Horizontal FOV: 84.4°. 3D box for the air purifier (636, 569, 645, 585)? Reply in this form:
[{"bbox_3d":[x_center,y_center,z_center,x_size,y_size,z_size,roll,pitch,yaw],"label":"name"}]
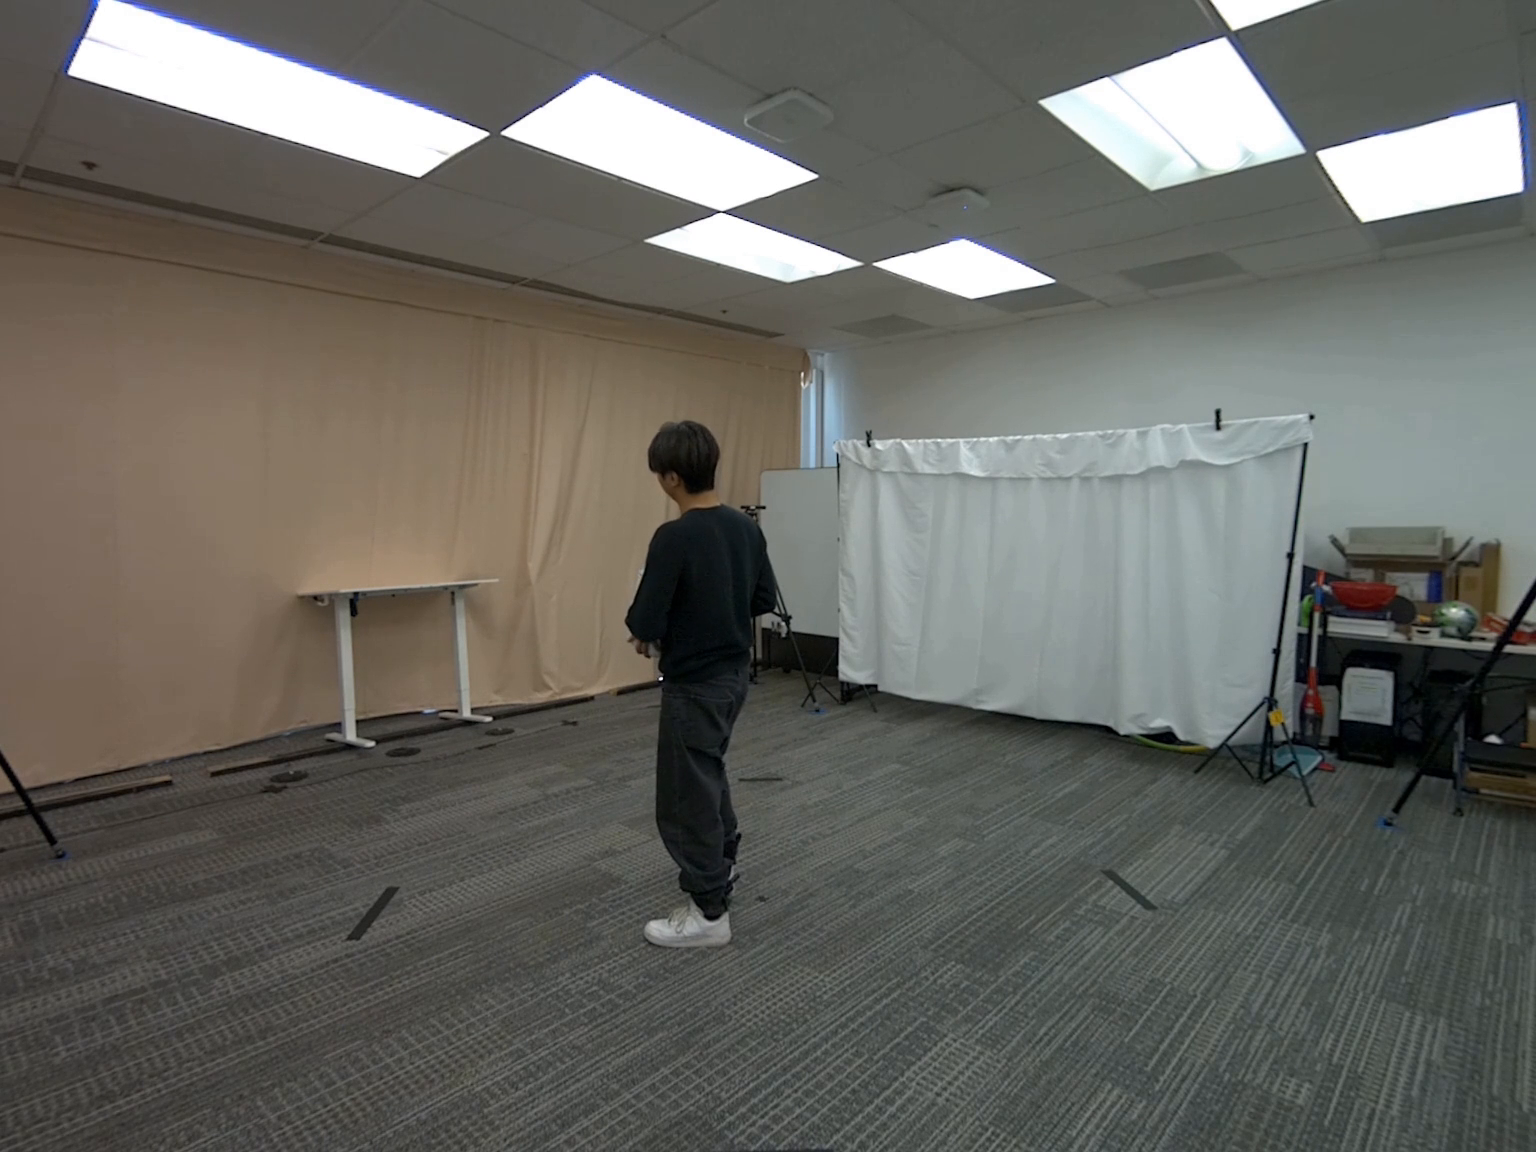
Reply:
[{"bbox_3d":[-0.356,0.126,2.816,0.177,0.263,0.167,25,22,37],"label":"air purifier"}]
